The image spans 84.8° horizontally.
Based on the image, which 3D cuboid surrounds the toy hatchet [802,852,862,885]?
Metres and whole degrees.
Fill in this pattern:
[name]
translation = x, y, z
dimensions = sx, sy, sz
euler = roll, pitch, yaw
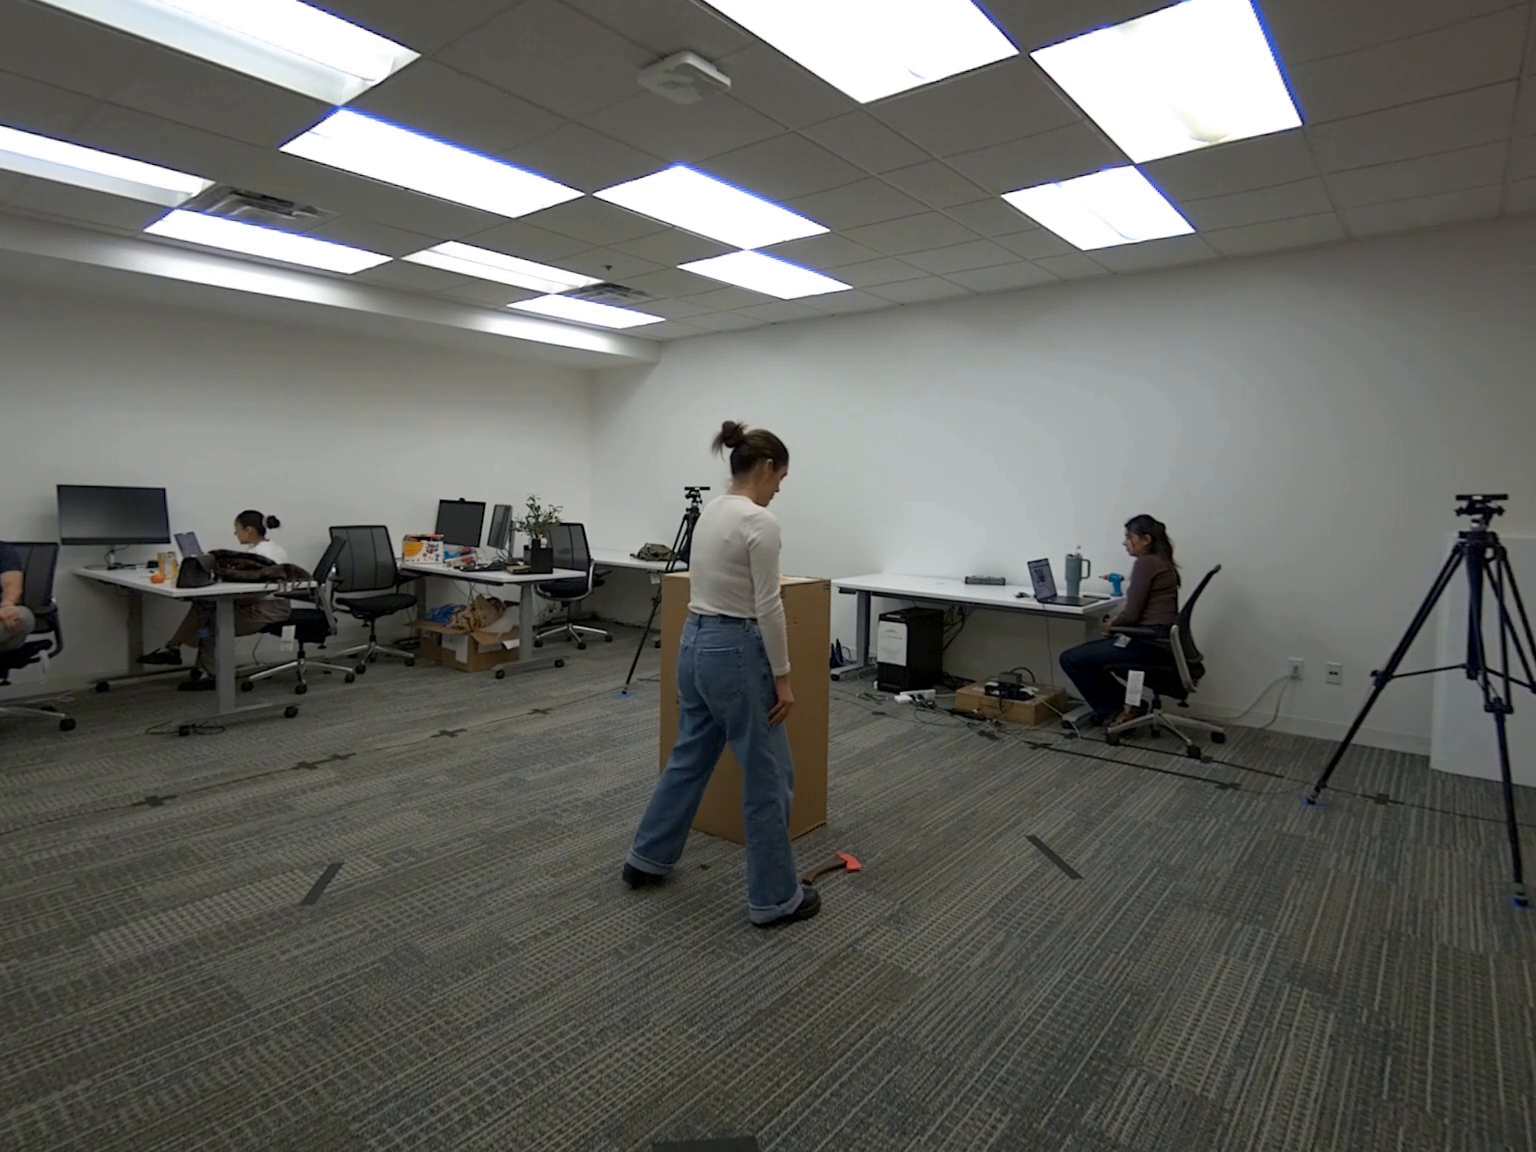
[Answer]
[toy hatchet]
translation = 0.236, 1.066, 3.076
dimensions = 0.135, 0.029, 0.263
euler = 7, 9, 33
